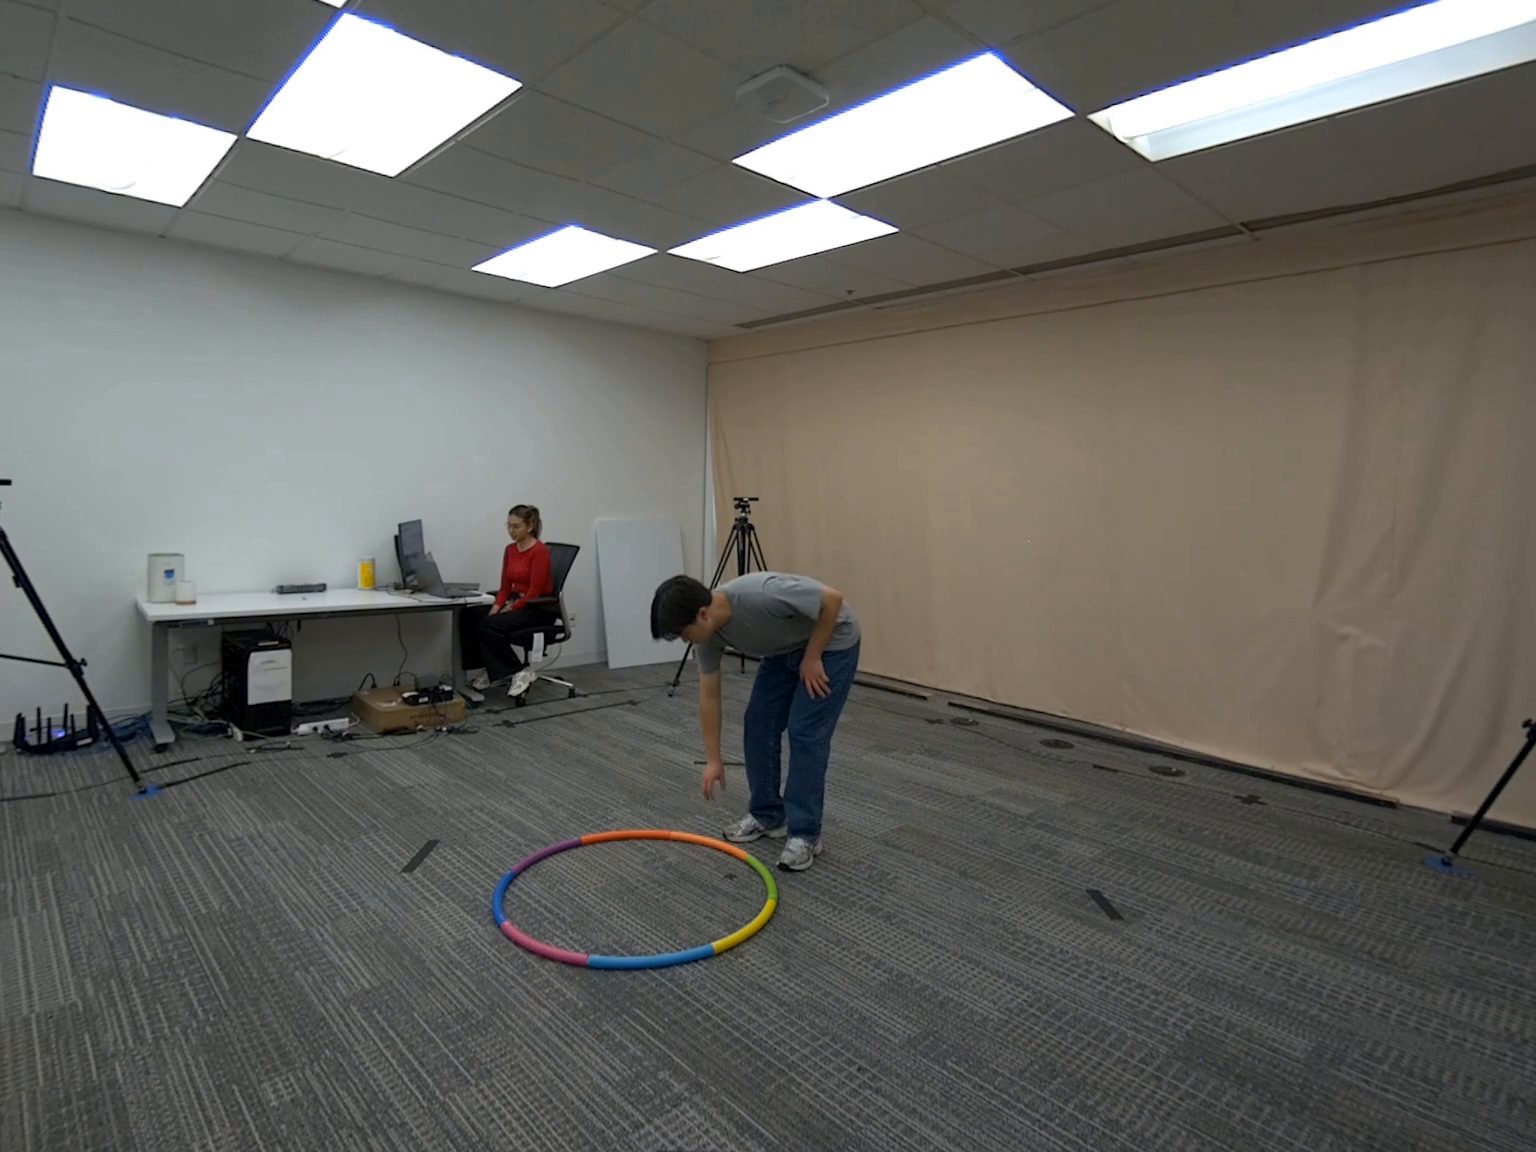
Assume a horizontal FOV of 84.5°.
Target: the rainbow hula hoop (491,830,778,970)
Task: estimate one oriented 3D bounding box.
[{"bbox_3d":[-0.464,1.082,2.957,0.978,0.035,0.982,1,5,-1],"label":"rainbow hula hoop"}]
